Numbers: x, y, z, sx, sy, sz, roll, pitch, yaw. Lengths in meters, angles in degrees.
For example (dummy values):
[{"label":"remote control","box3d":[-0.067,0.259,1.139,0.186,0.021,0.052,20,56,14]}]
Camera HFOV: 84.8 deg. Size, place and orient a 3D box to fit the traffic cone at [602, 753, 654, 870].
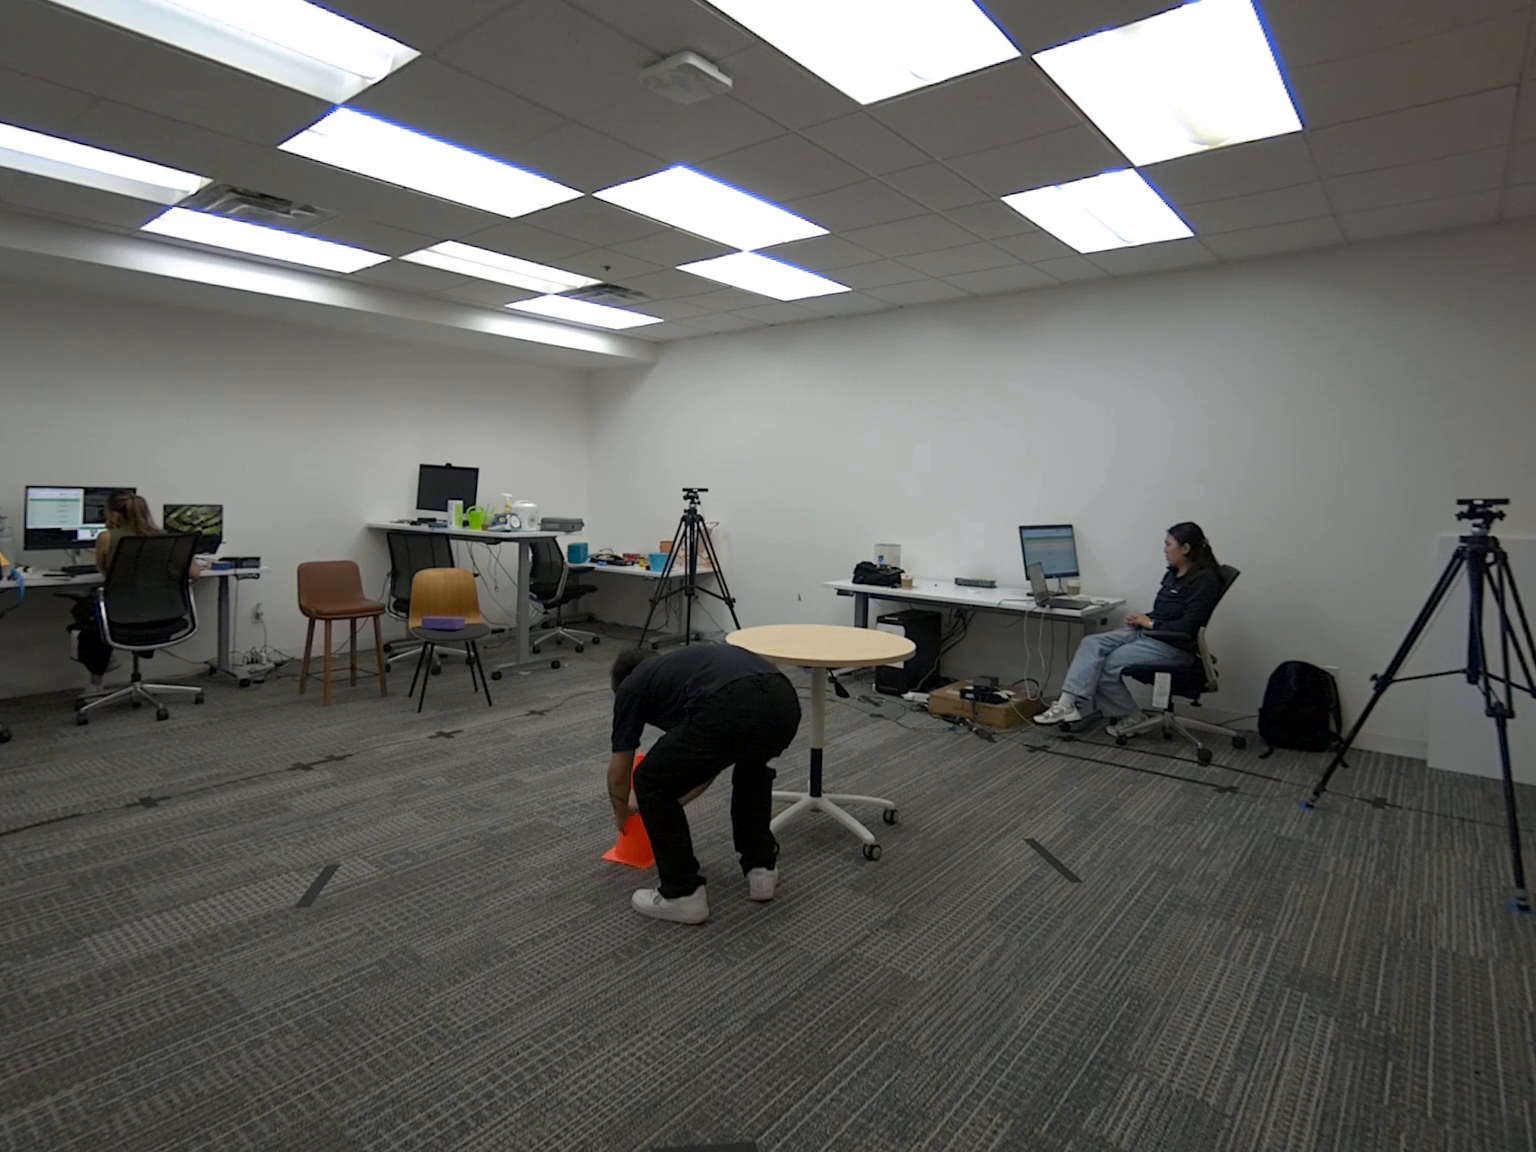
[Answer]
[{"label":"traffic cone","box3d":[-0.494,0.870,3.224,0.209,0.382,0.199,5,4,19]}]
